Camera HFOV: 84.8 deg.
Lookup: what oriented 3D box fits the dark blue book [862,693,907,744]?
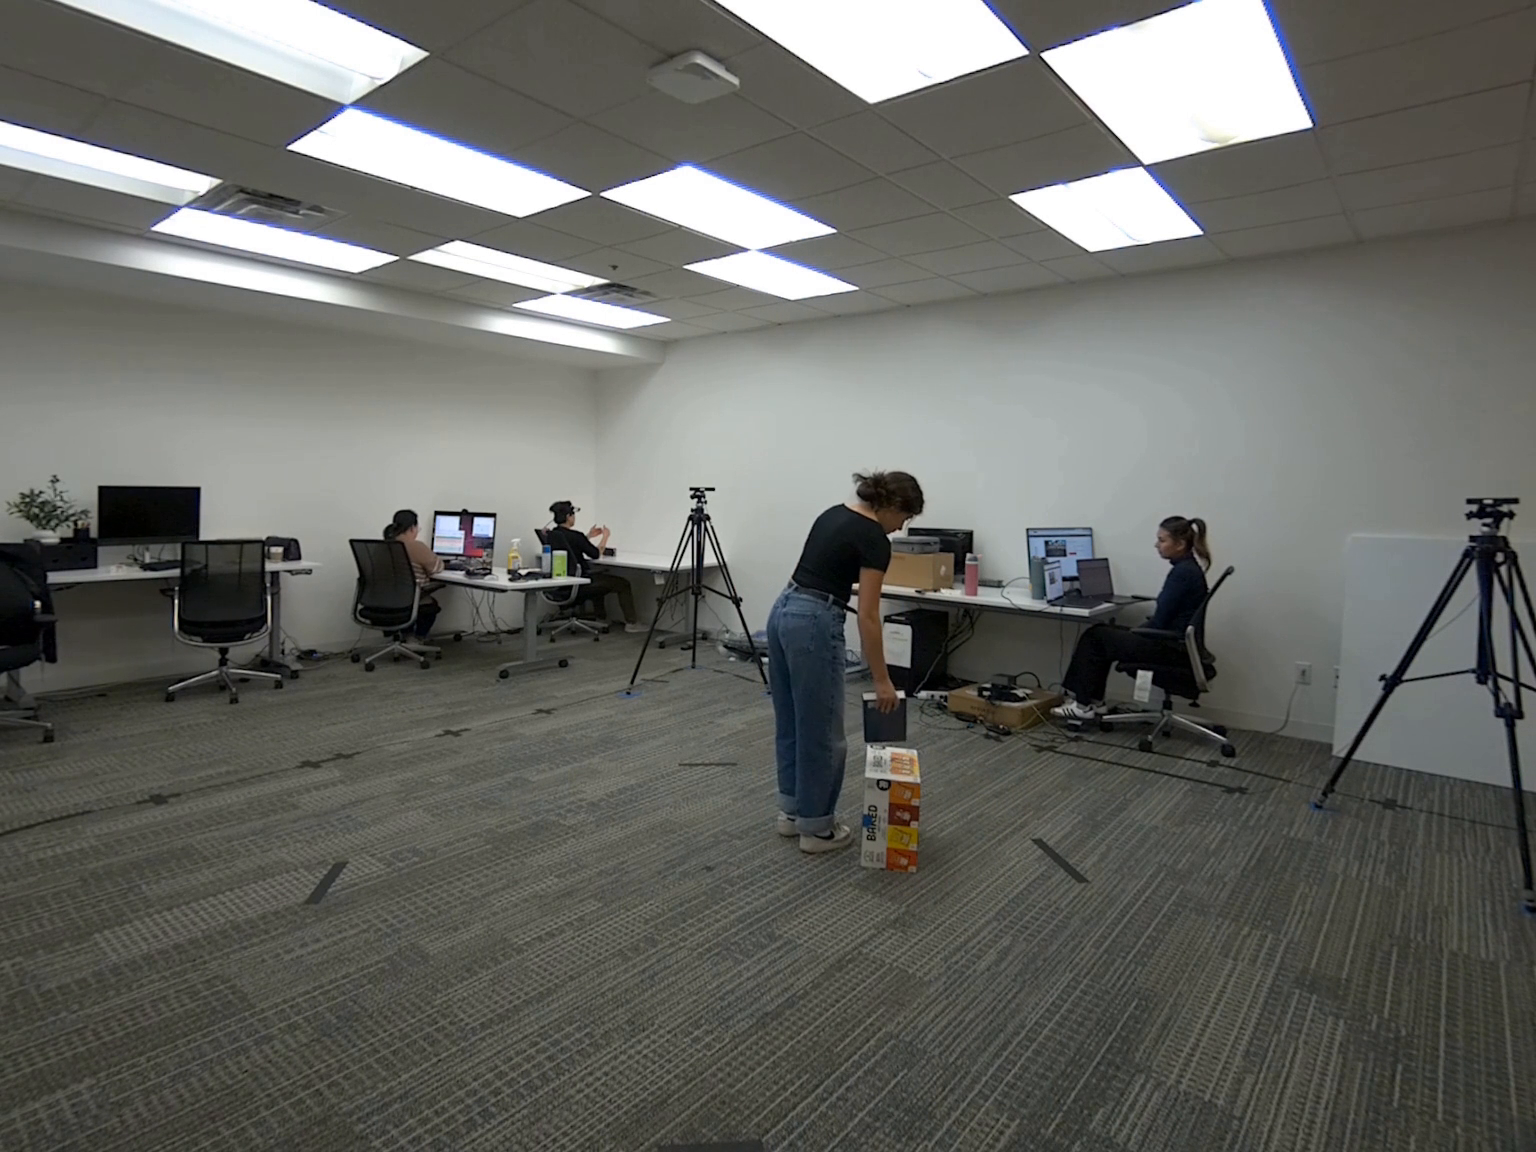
[{"bbox_3d":[0.437,0.541,3.251,0.164,0.237,0.046,-3,36,6],"label":"dark blue book"}]
